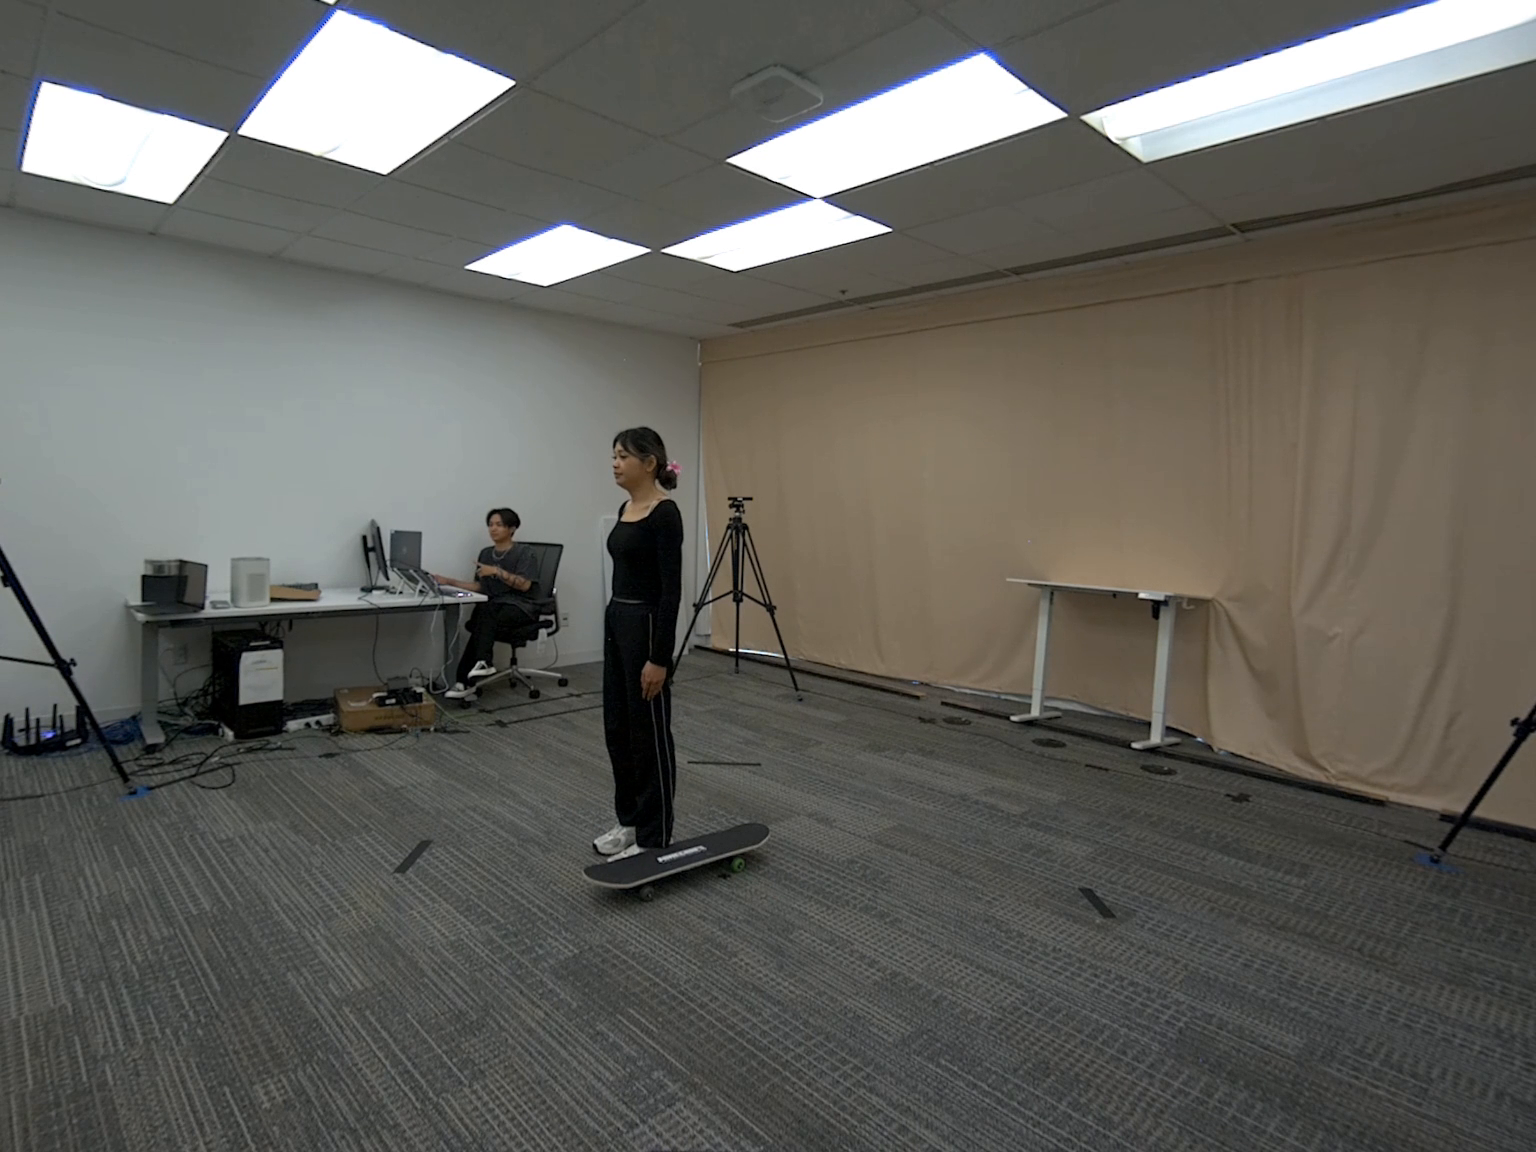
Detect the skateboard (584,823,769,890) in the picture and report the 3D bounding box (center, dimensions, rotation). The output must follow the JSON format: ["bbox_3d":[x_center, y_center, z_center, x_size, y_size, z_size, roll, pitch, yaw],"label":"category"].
[{"bbox_3d":[-0.317,1.048,3.072,0.768,0.110,0.198,-3,7,-39],"label":"skateboard"}]
